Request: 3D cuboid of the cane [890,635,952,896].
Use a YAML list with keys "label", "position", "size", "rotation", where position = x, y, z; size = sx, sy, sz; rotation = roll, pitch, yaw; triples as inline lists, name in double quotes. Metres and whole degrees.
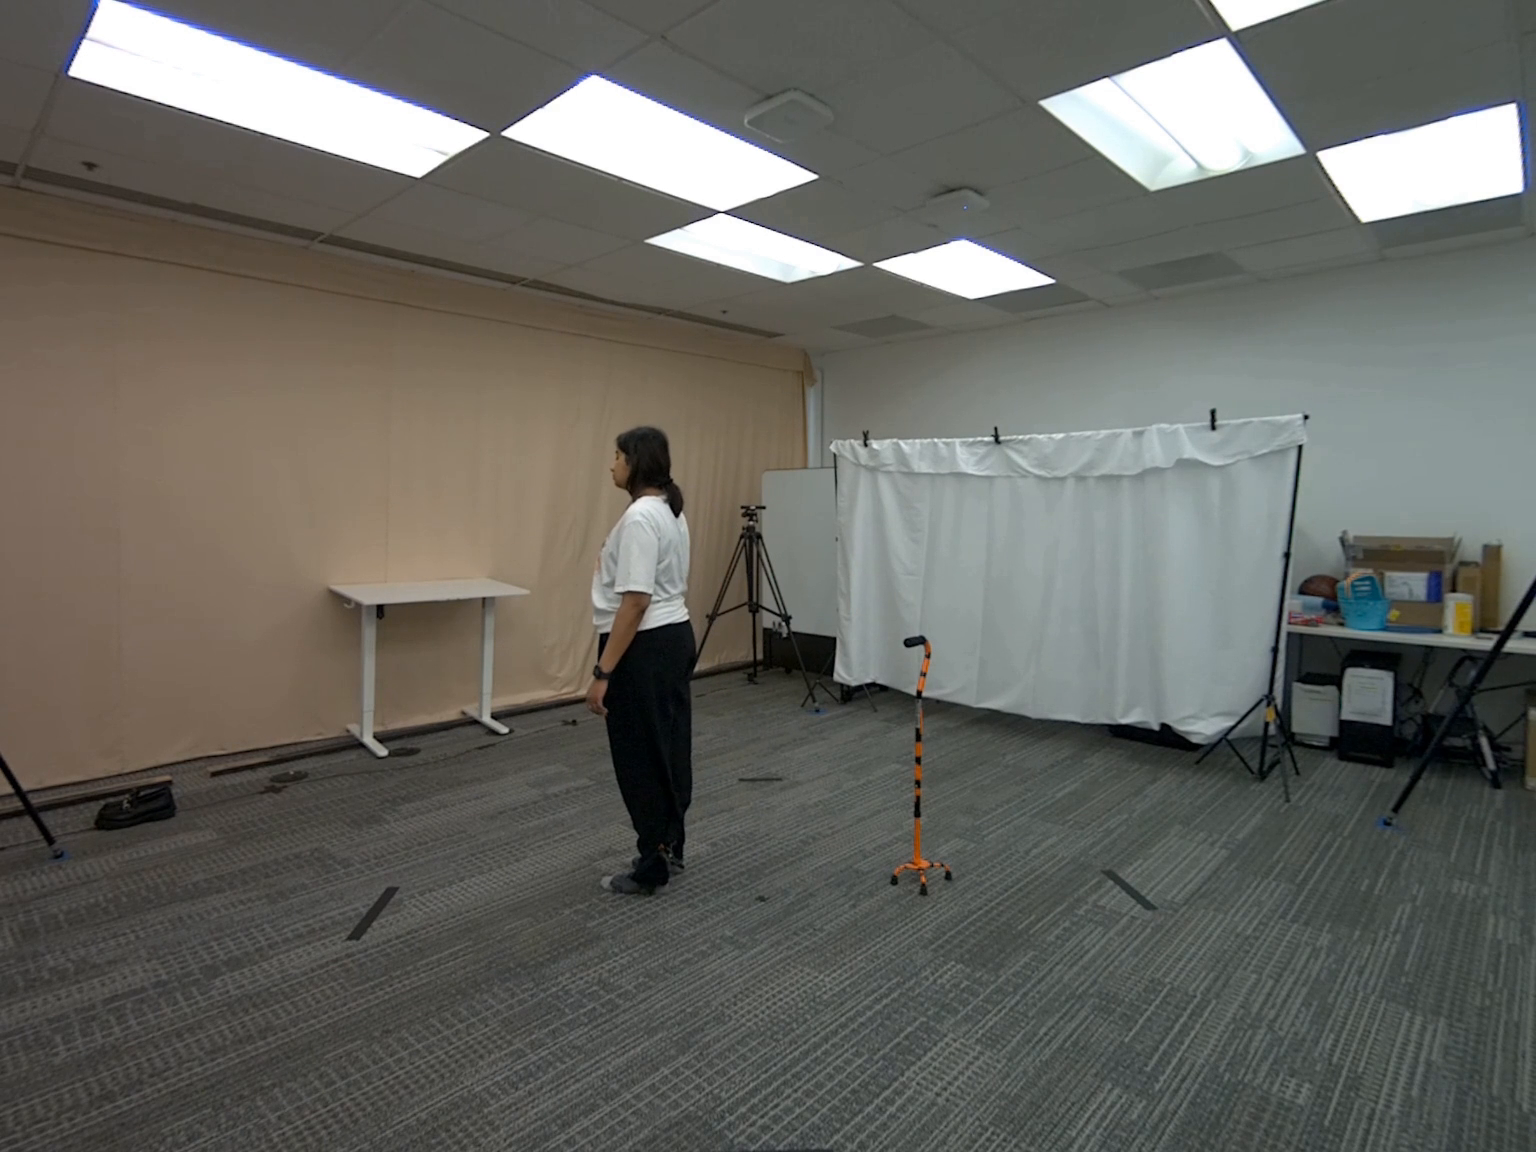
- label: "cane"
  position: [0.583, 0.680, 3.097]
  size: [0.156, 0.907, 0.200]
  rotation: [2, 2, 43]
